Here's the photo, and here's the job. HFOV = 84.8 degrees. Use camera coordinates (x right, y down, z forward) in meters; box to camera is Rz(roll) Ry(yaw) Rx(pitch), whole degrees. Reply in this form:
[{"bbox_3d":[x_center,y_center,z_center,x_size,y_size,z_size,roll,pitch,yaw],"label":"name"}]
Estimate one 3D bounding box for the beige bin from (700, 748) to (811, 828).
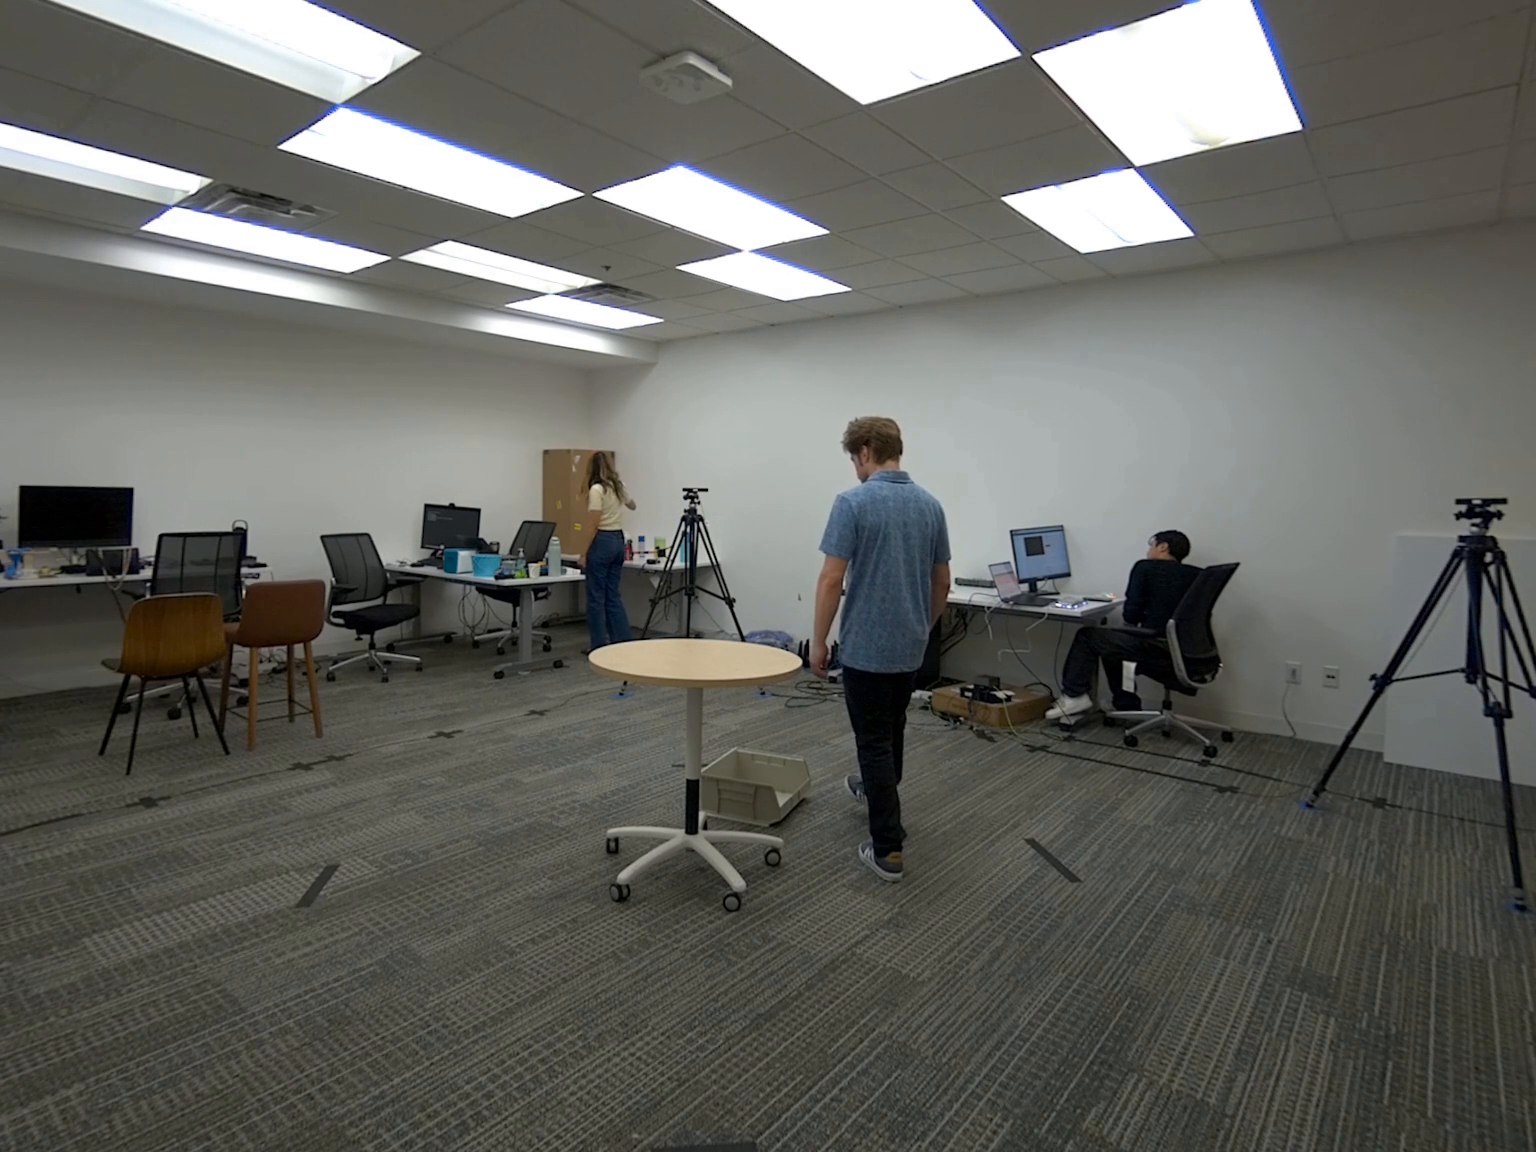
[{"bbox_3d":[-0.060,0.920,3.748,0.386,0.188,0.414,2,6,22],"label":"beige bin"}]
